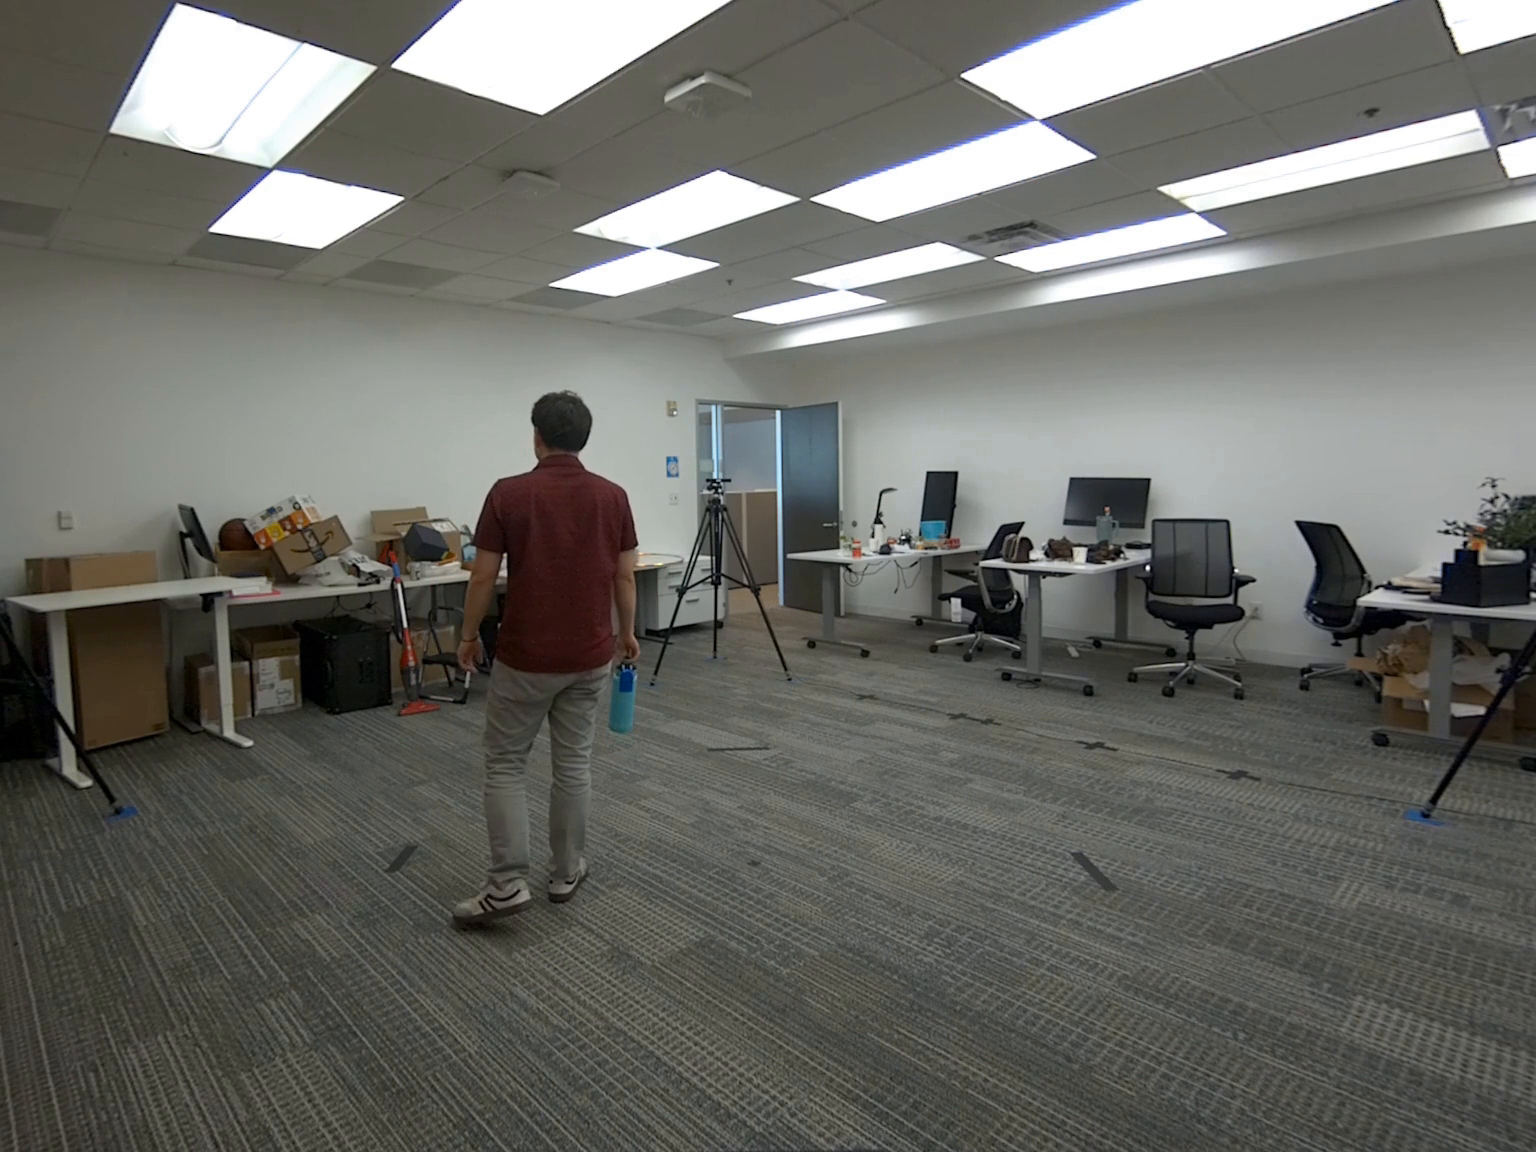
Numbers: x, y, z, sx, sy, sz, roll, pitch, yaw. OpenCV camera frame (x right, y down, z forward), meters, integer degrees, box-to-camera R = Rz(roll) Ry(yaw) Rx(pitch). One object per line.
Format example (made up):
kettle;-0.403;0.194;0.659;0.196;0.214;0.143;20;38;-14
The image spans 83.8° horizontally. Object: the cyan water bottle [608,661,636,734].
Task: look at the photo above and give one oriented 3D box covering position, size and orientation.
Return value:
cyan water bottle;-0.532;0.440;3.138;0.092;0.280;0.094;7;18;-4
